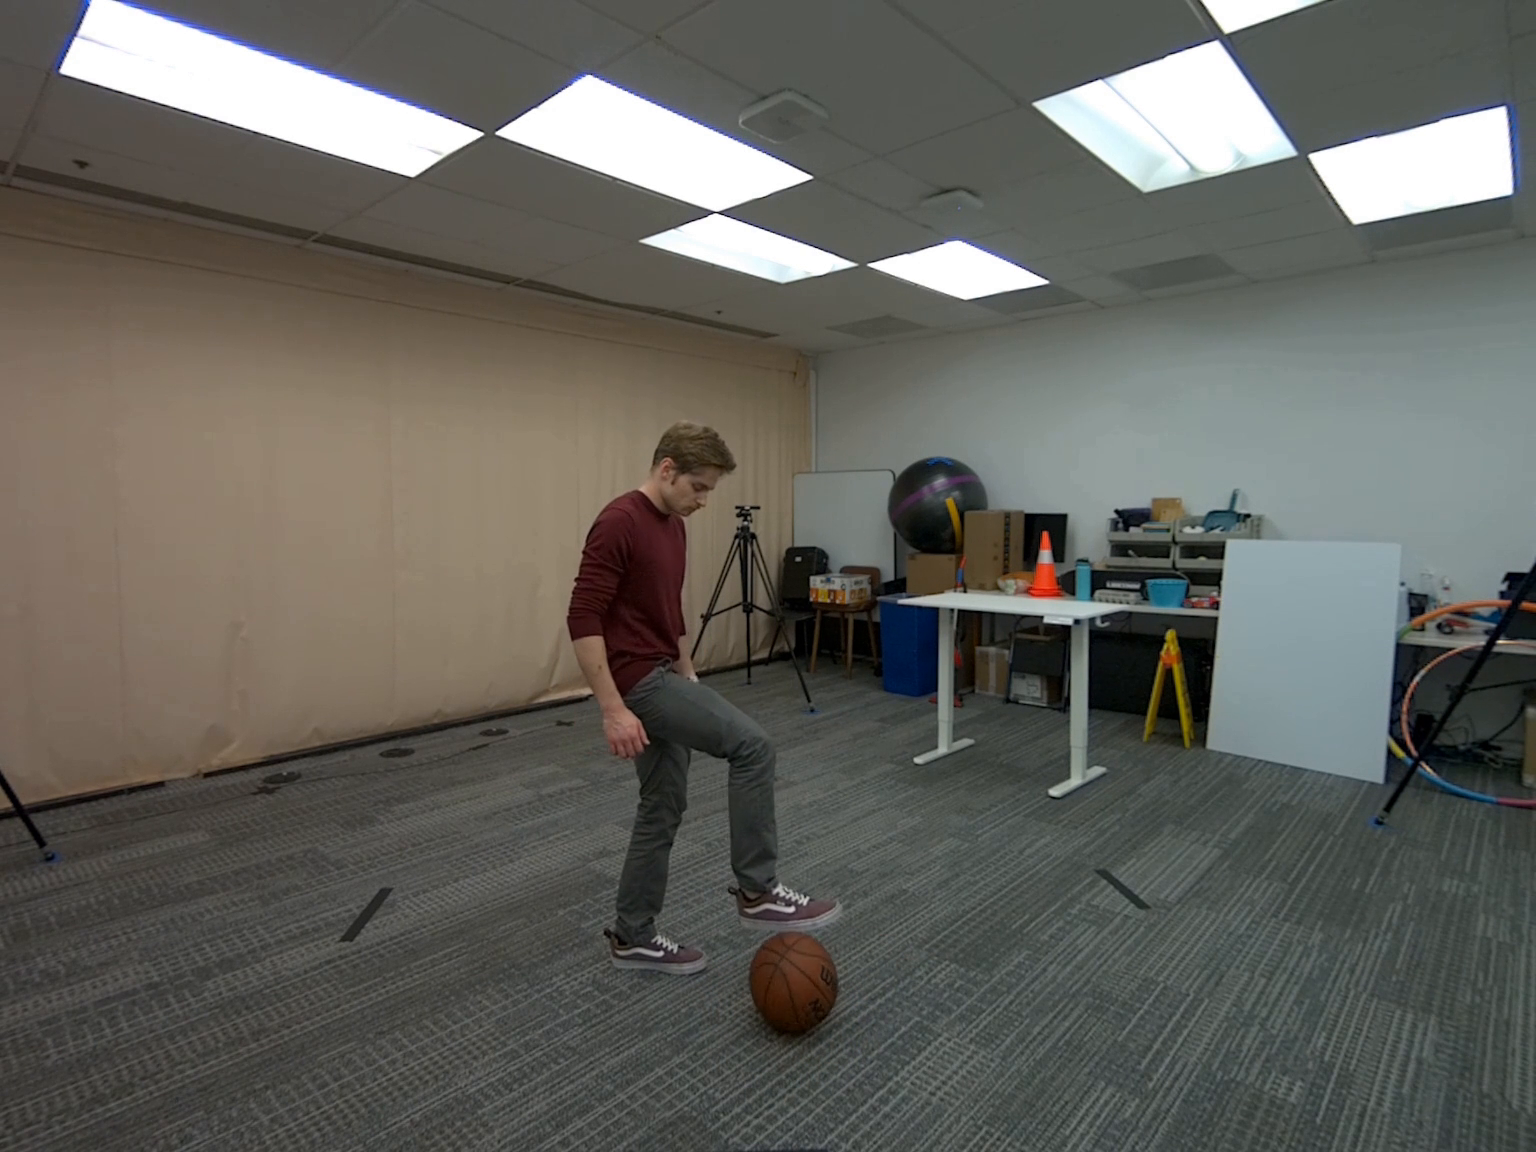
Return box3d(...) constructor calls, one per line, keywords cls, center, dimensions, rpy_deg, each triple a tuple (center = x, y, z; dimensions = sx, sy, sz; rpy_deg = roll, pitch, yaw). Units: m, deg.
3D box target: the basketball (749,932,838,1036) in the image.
box3d(cls="basketball", center=(0.071, 1.087, 2.247), dimensions=(0.236, 0.235, 0.237), rpy_deg=(0, 4, -2))
